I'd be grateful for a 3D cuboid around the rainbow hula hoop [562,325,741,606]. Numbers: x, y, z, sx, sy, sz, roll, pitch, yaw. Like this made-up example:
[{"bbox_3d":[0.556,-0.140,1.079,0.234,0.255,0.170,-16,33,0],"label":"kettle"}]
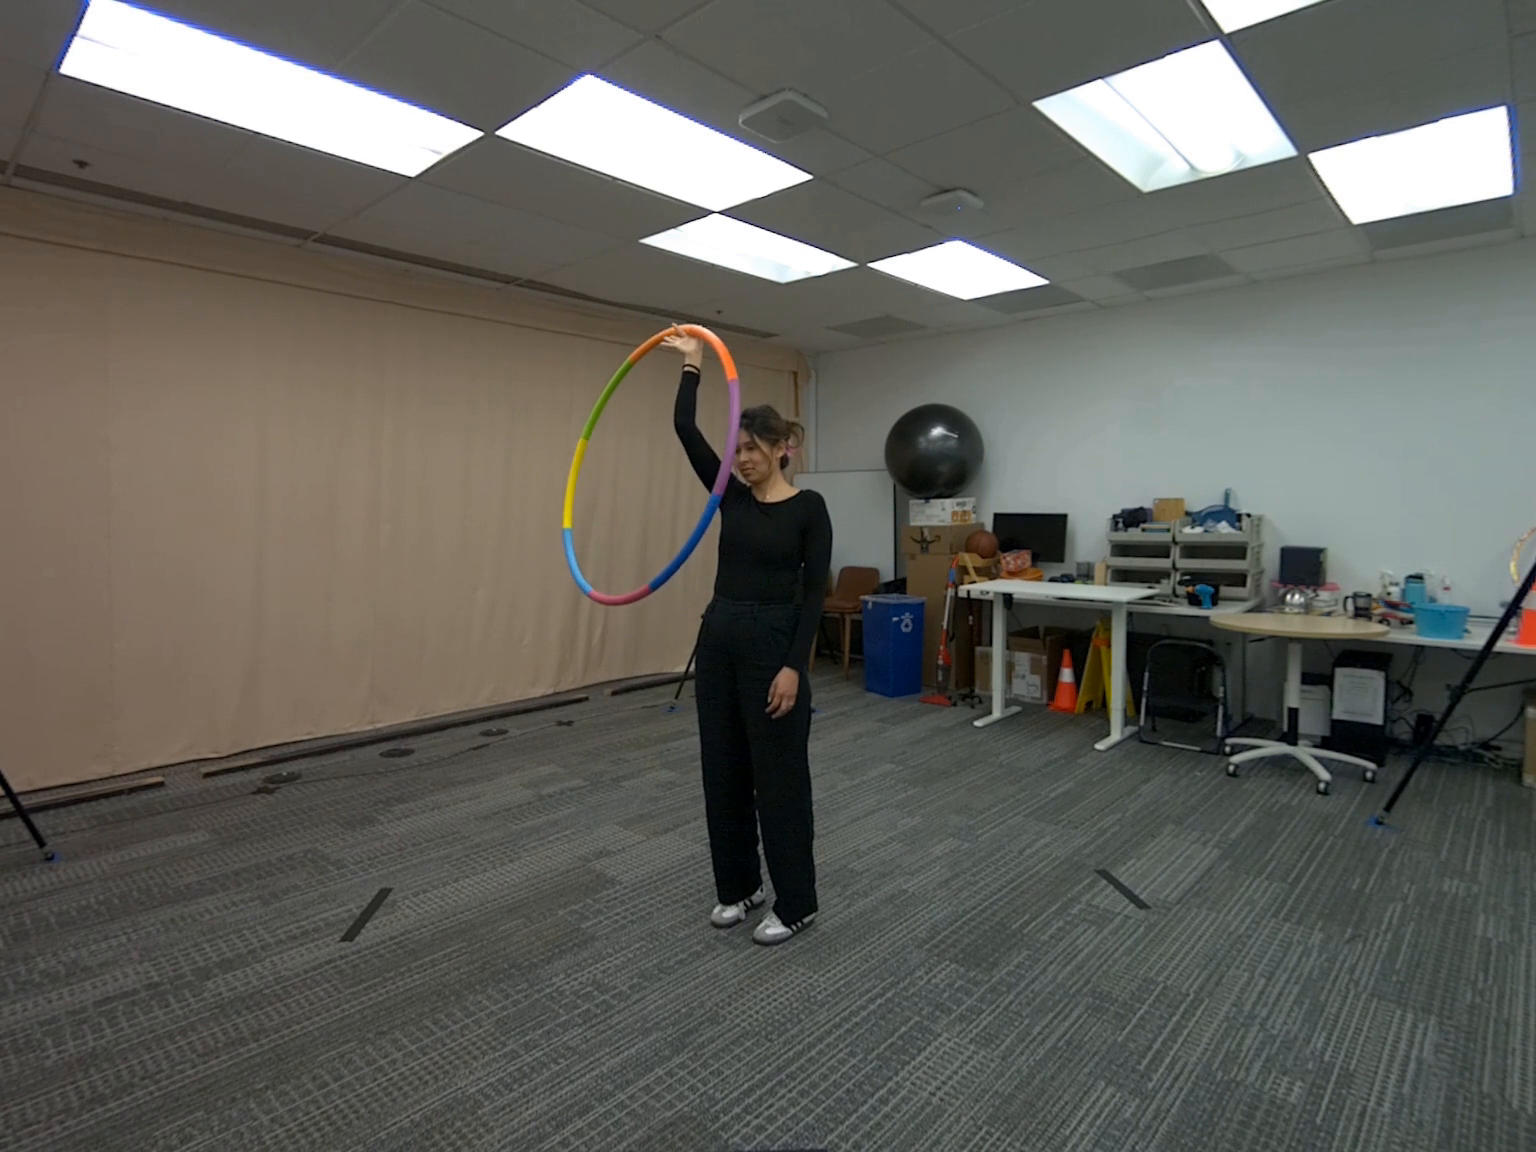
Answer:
[{"bbox_3d":[-0.424,-0.378,2.869,0.050,0.988,1.018,18,-8,-40],"label":"rainbow hula hoop"}]
